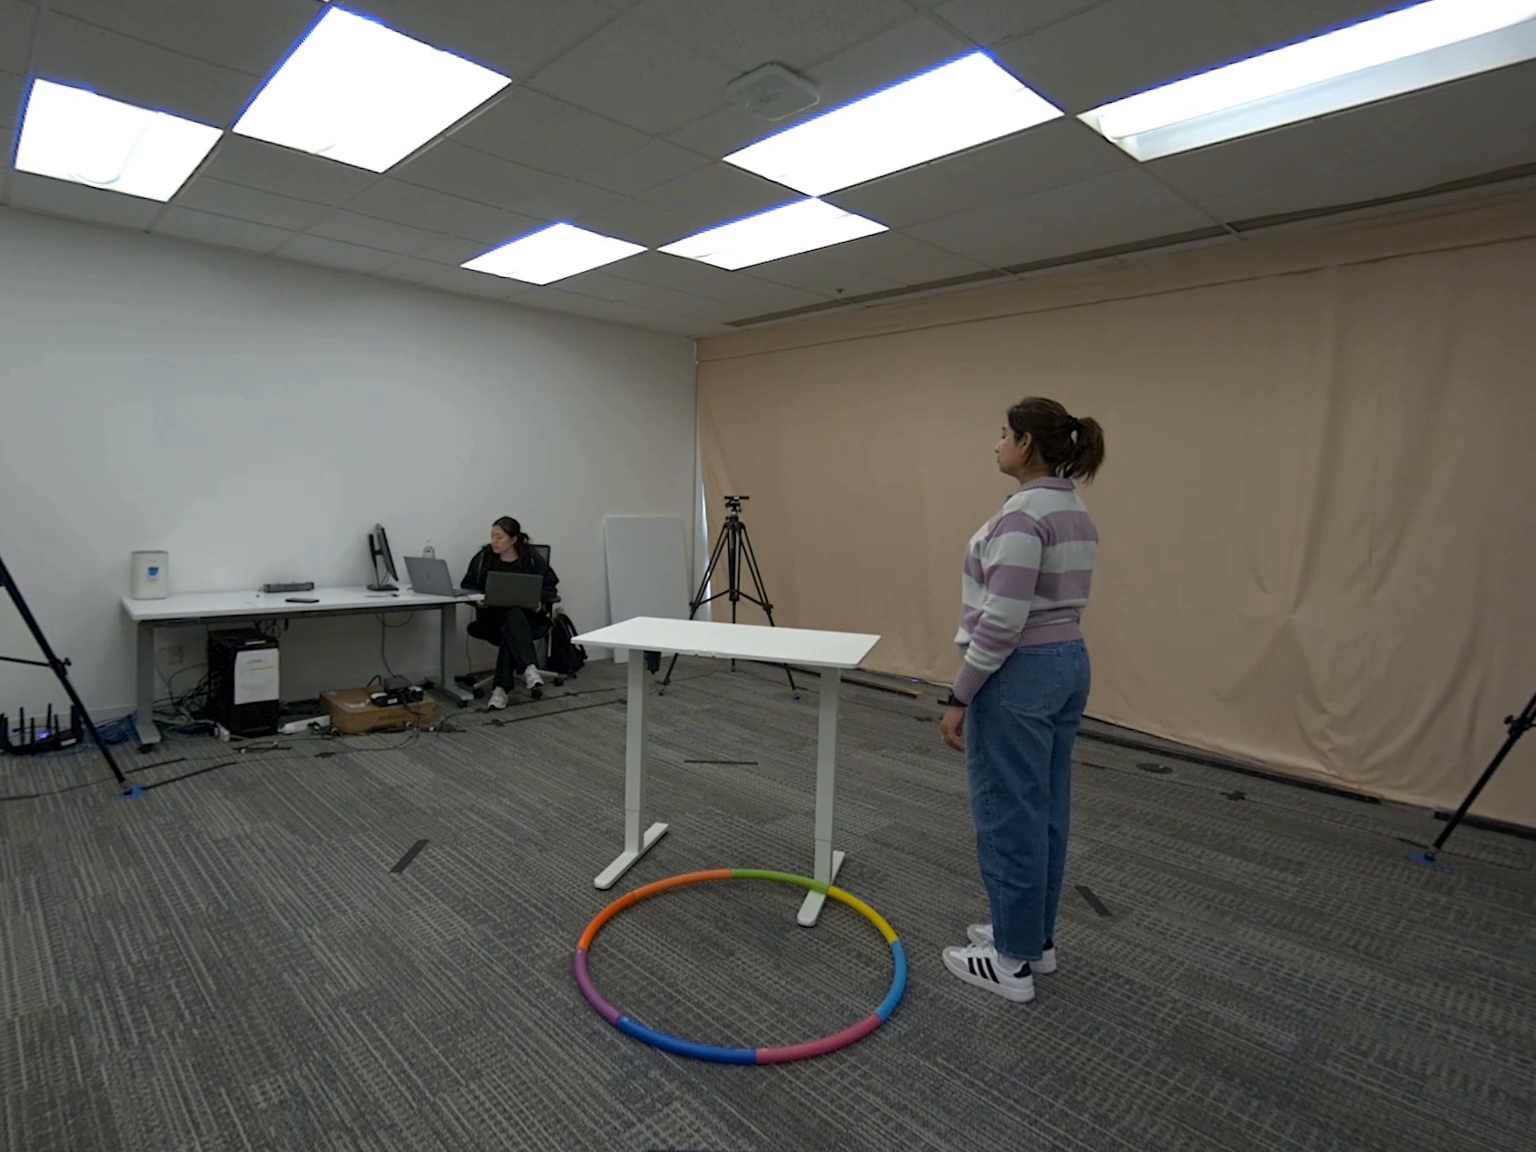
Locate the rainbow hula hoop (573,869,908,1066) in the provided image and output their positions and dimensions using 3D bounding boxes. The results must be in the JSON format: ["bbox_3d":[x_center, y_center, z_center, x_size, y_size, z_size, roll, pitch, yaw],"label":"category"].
[{"bbox_3d":[-0.091,1.125,2.542,0.978,0.035,0.983,0,7,-1],"label":"rainbow hula hoop"}]
